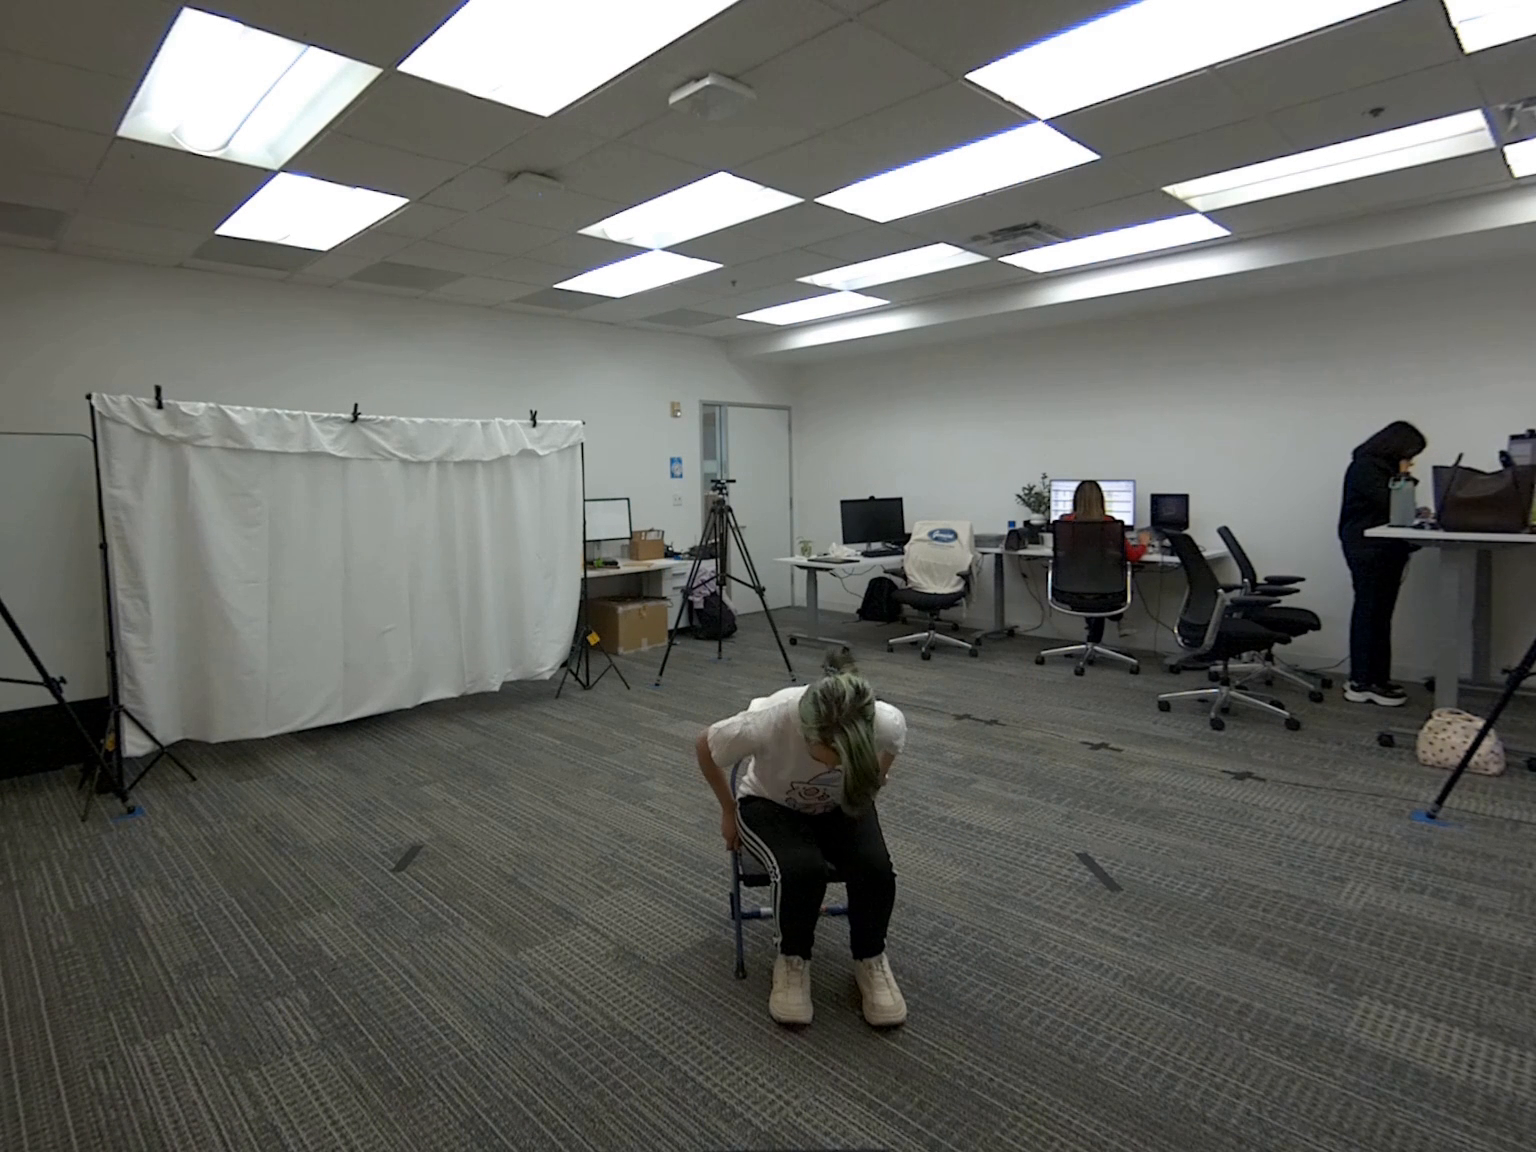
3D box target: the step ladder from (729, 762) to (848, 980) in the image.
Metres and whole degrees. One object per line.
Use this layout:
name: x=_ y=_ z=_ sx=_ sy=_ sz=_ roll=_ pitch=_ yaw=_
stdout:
step ladder: x=0.107 y=0.805 z=2.567 sx=0.429 sy=0.604 sz=0.352 roll=-1 pitch=5 yaw=-5
